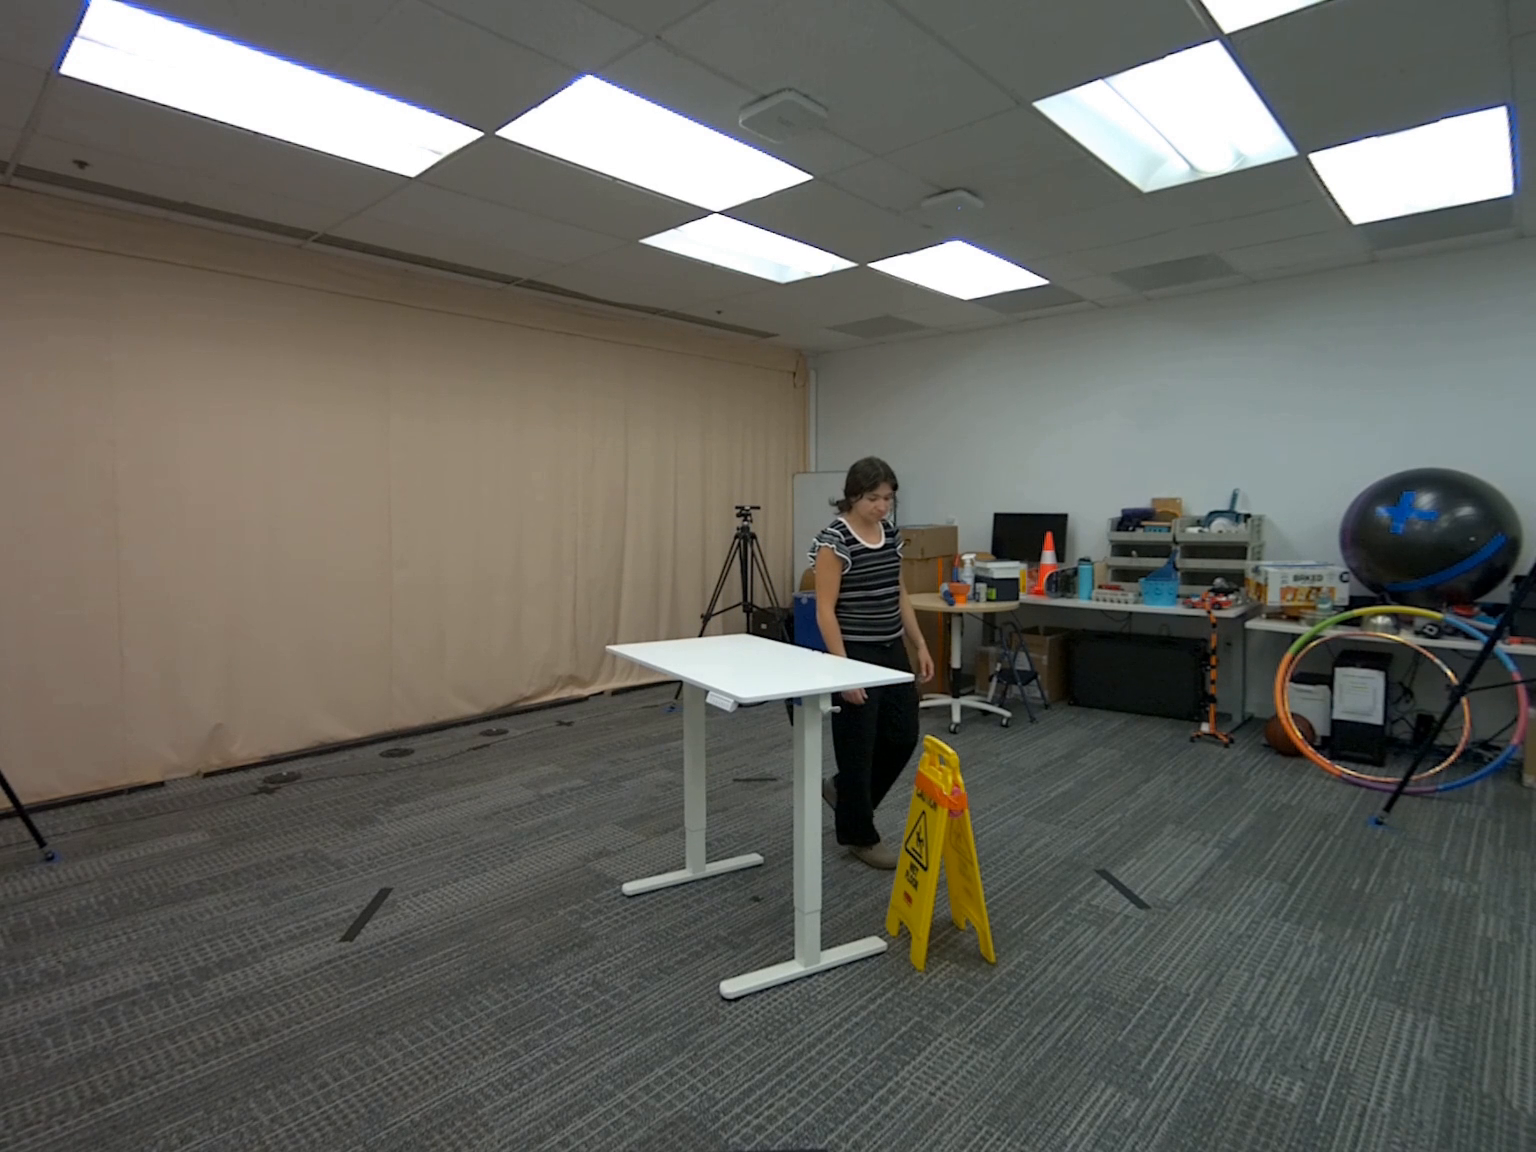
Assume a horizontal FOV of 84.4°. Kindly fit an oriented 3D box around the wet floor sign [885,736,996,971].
[{"bbox_3d":[0.545,0.841,2.649,0.286,0.645,0.286,1,3,-11],"label":"wet floor sign"}]
